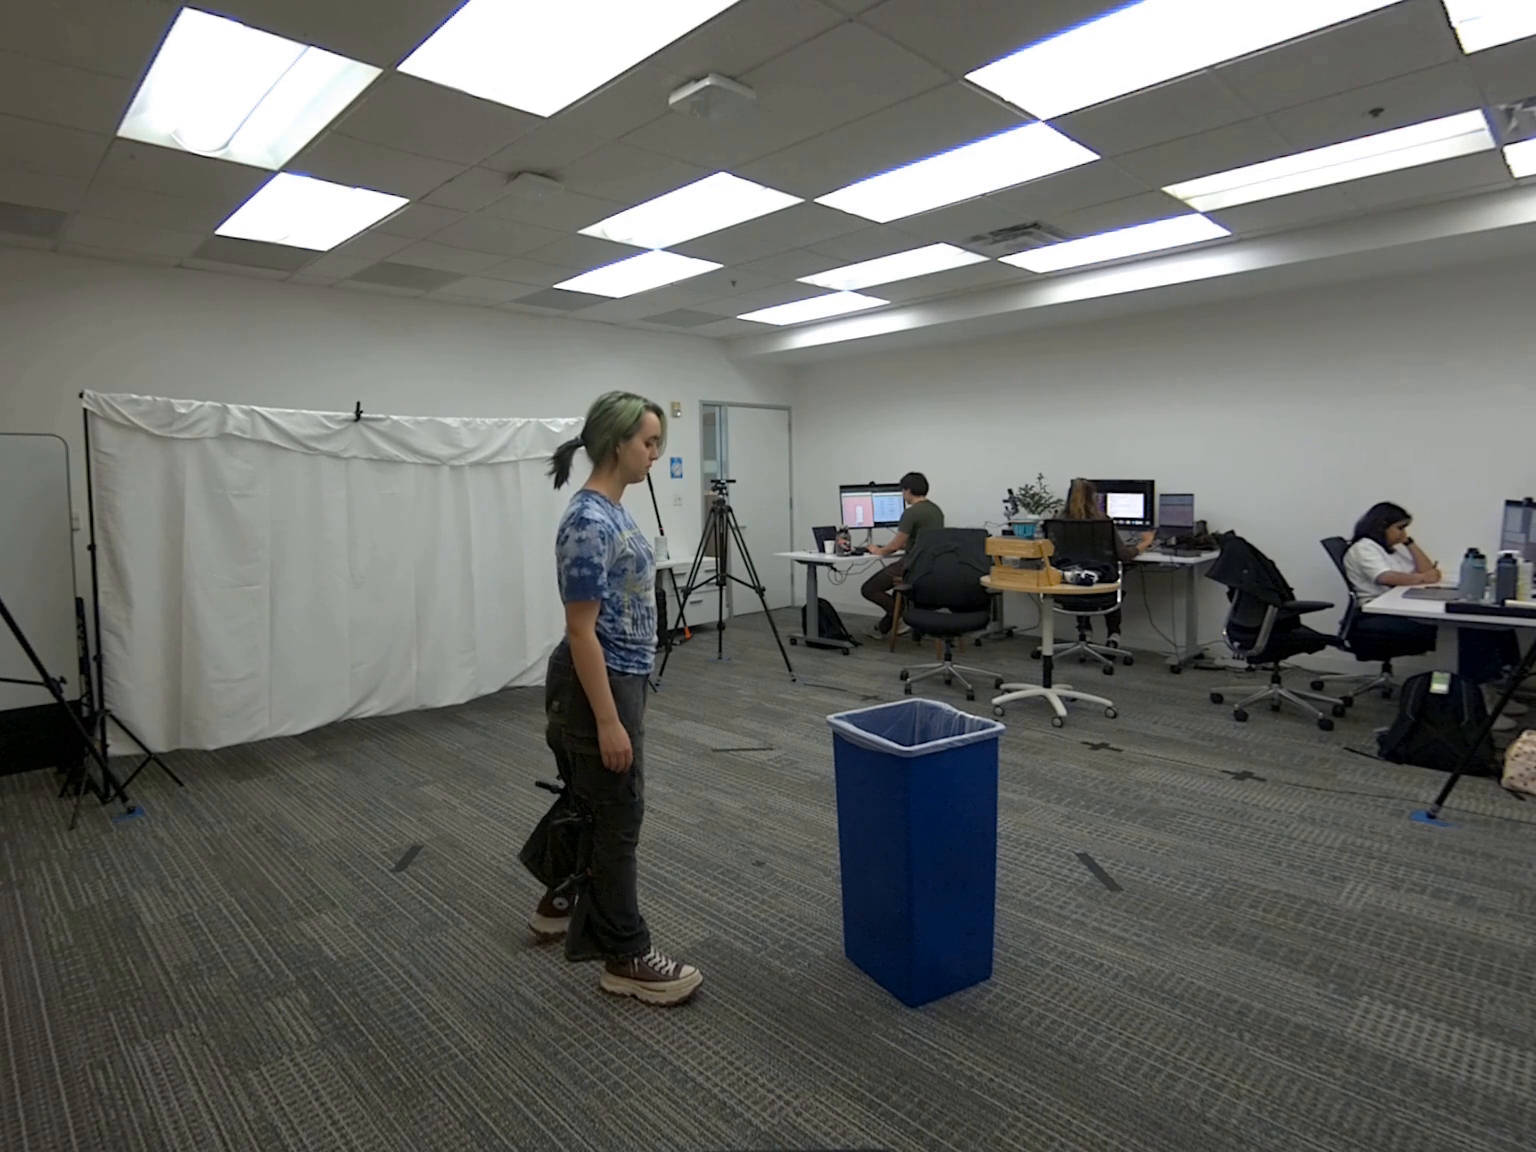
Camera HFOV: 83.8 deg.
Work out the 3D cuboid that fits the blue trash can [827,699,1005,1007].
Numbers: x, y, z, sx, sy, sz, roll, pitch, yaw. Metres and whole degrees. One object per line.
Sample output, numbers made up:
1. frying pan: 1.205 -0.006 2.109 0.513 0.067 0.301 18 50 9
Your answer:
1. blue trash can: 0.417 0.761 2.411 0.365 0.711 0.388 -4 5 -30
